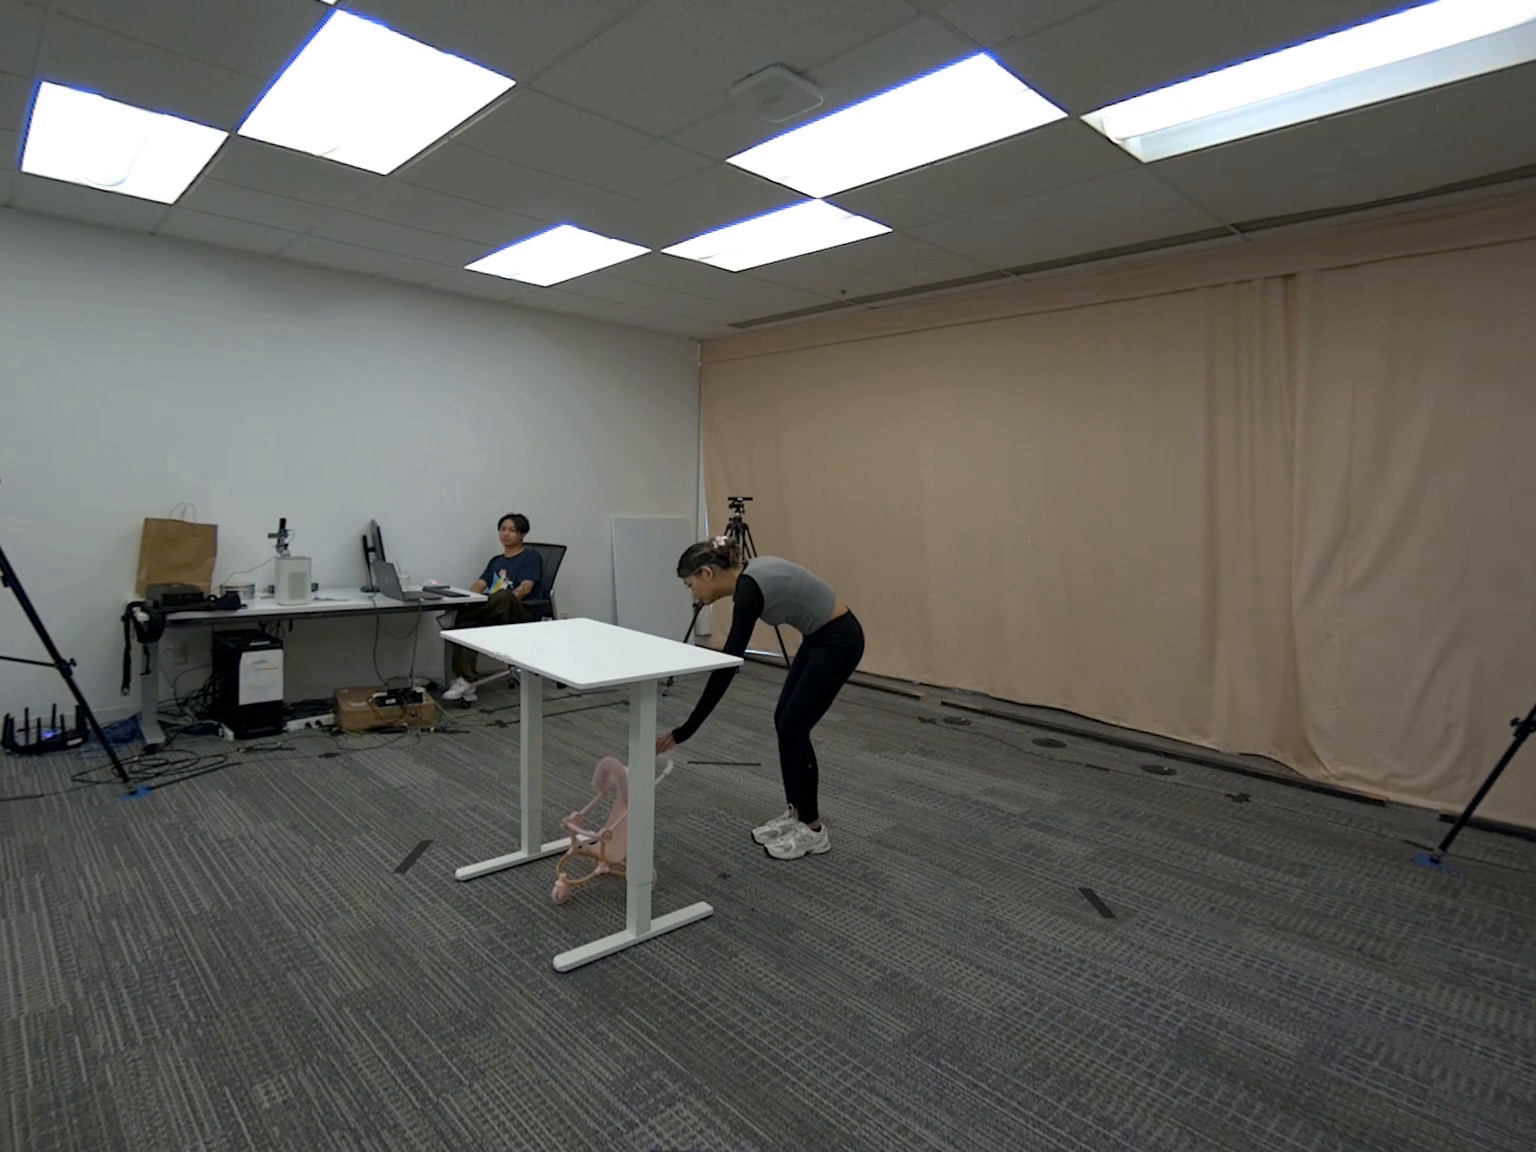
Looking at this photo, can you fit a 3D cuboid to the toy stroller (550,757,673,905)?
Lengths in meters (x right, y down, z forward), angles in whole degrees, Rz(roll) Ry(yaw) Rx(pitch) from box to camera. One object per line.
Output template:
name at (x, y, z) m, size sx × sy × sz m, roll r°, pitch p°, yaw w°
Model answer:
toy stroller at (-0.573, 0.885, 2.974) m, size 0.332 × 0.536 × 0.288 m, roll 17°, pitch -7°, yaw -37°
